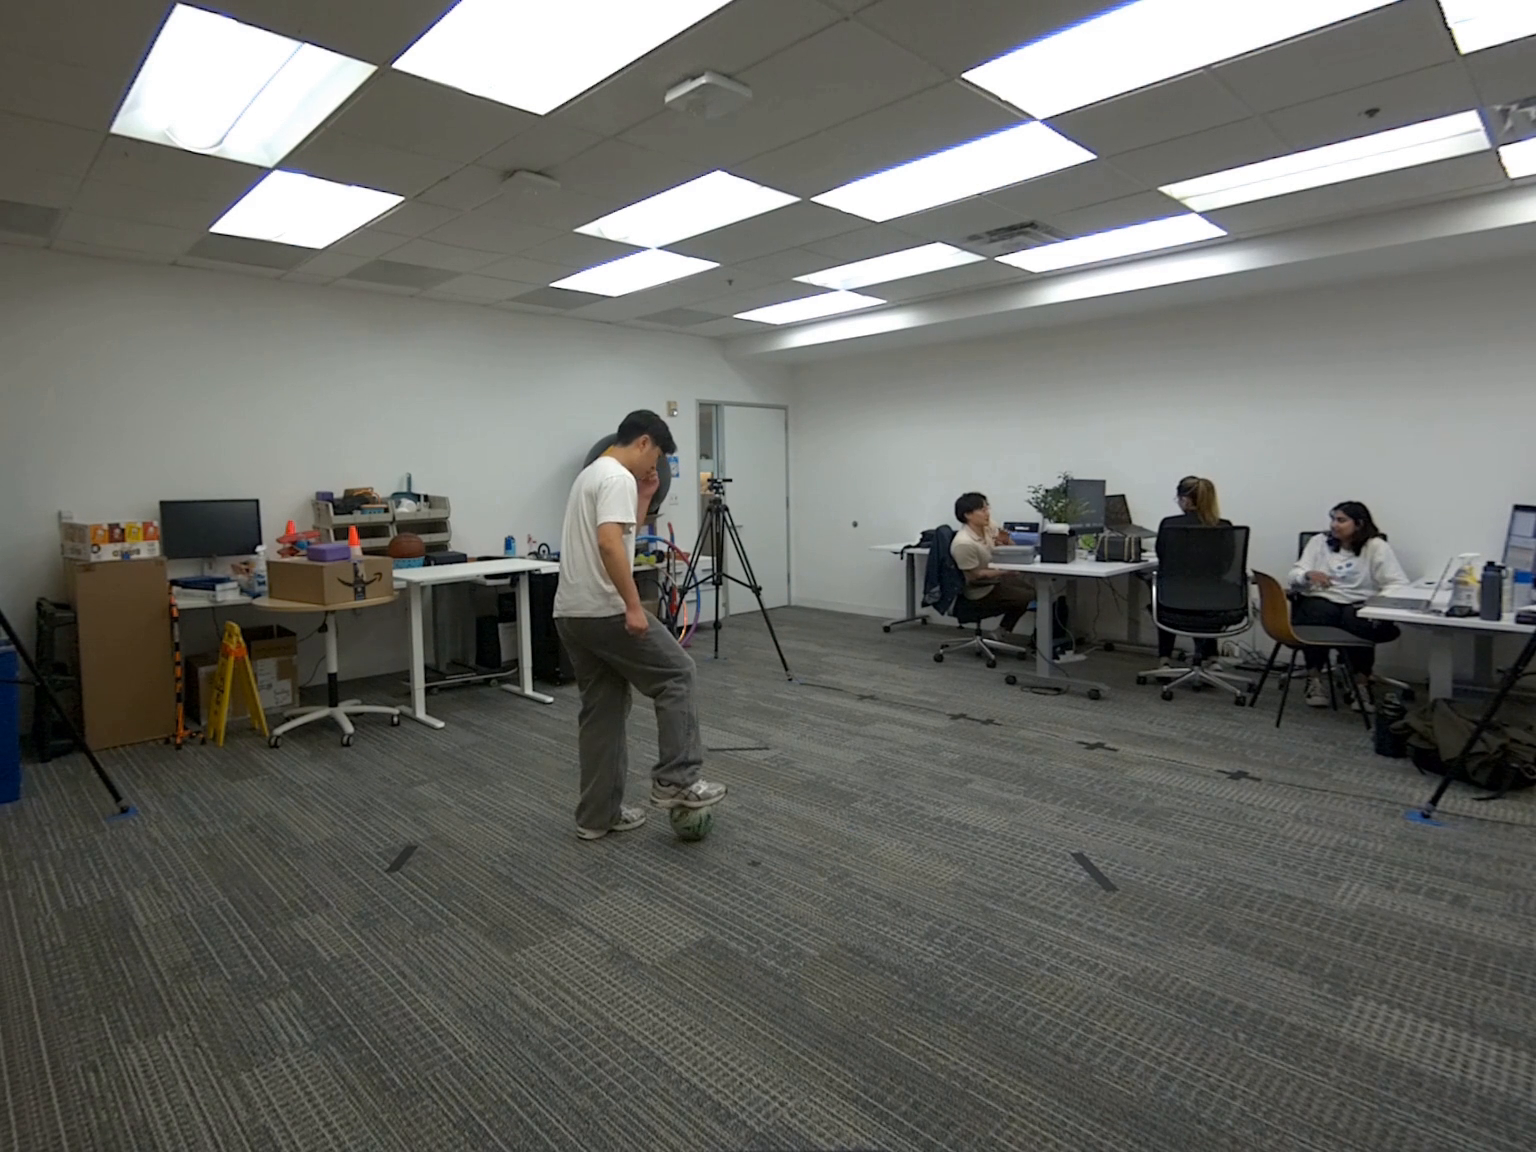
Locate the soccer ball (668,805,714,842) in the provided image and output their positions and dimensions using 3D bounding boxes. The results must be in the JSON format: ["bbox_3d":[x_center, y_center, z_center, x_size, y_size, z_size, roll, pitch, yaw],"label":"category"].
[{"bbox_3d":[-0.301,0.927,3.325,0.187,0.187,0.188,-1,5,-2],"label":"soccer ball"}]
